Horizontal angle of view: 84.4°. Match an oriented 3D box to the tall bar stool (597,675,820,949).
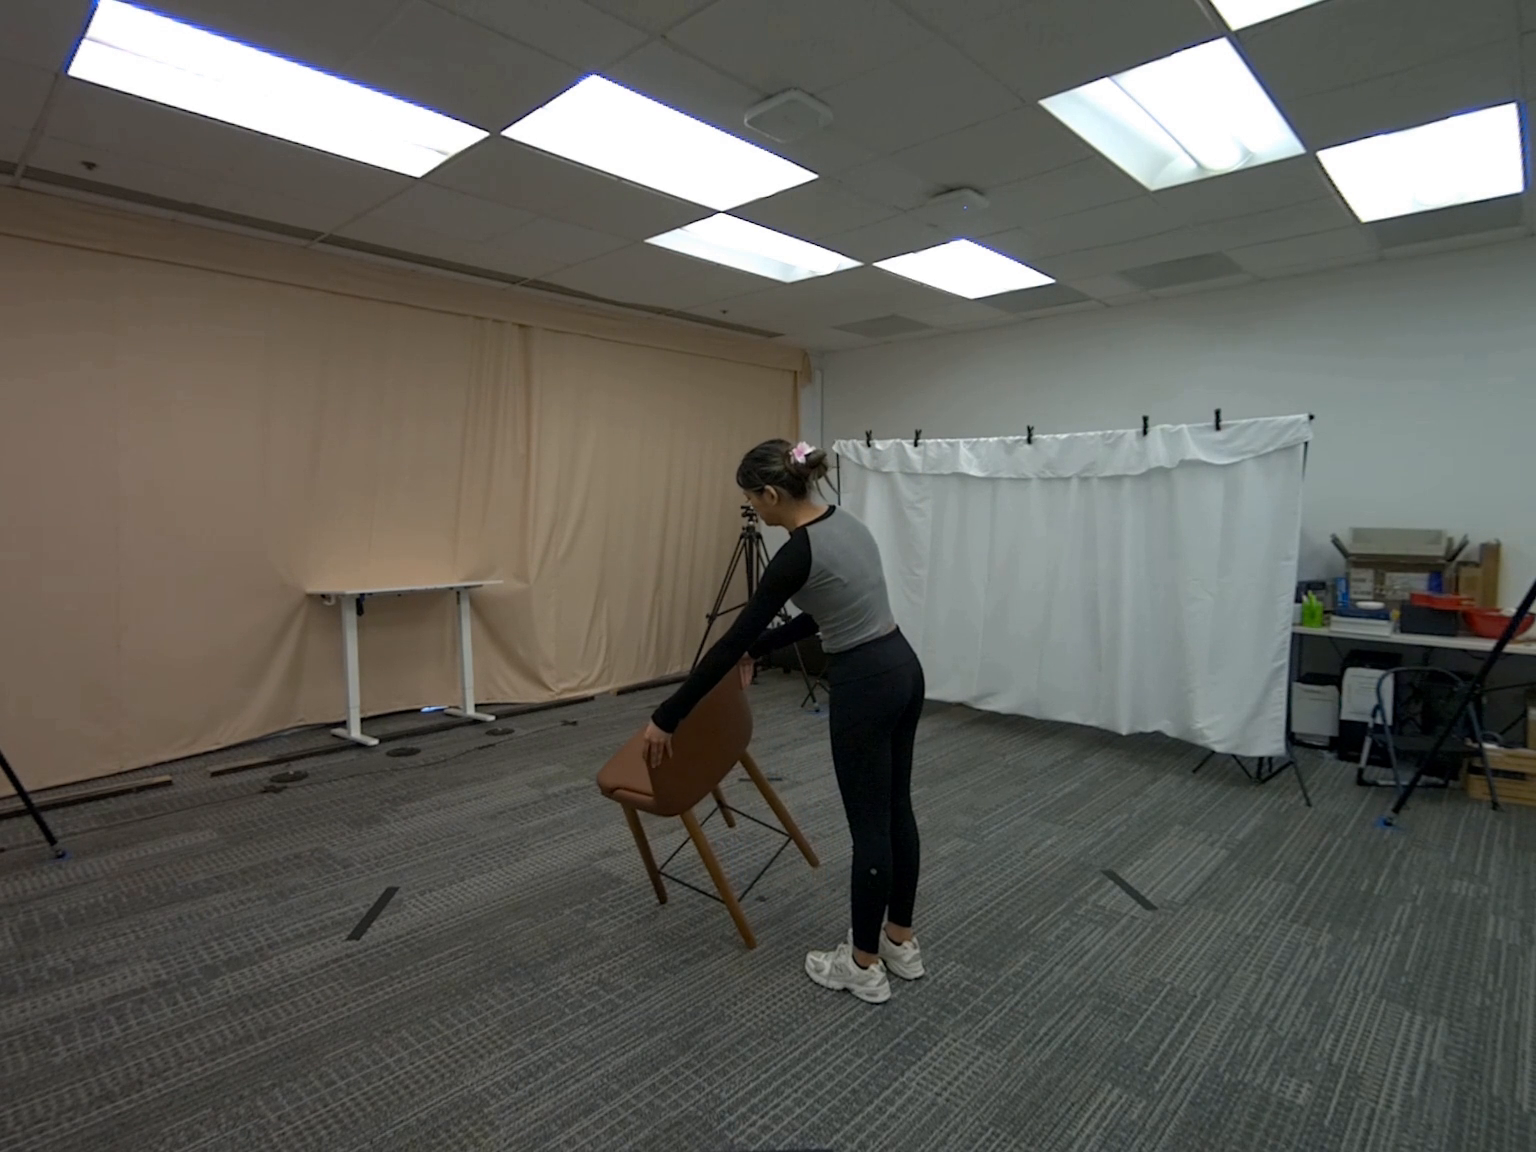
[{"bbox_3d":[-0.231,0.694,2.738,0.484,0.871,0.450,8,36,44],"label":"tall bar stool"}]
